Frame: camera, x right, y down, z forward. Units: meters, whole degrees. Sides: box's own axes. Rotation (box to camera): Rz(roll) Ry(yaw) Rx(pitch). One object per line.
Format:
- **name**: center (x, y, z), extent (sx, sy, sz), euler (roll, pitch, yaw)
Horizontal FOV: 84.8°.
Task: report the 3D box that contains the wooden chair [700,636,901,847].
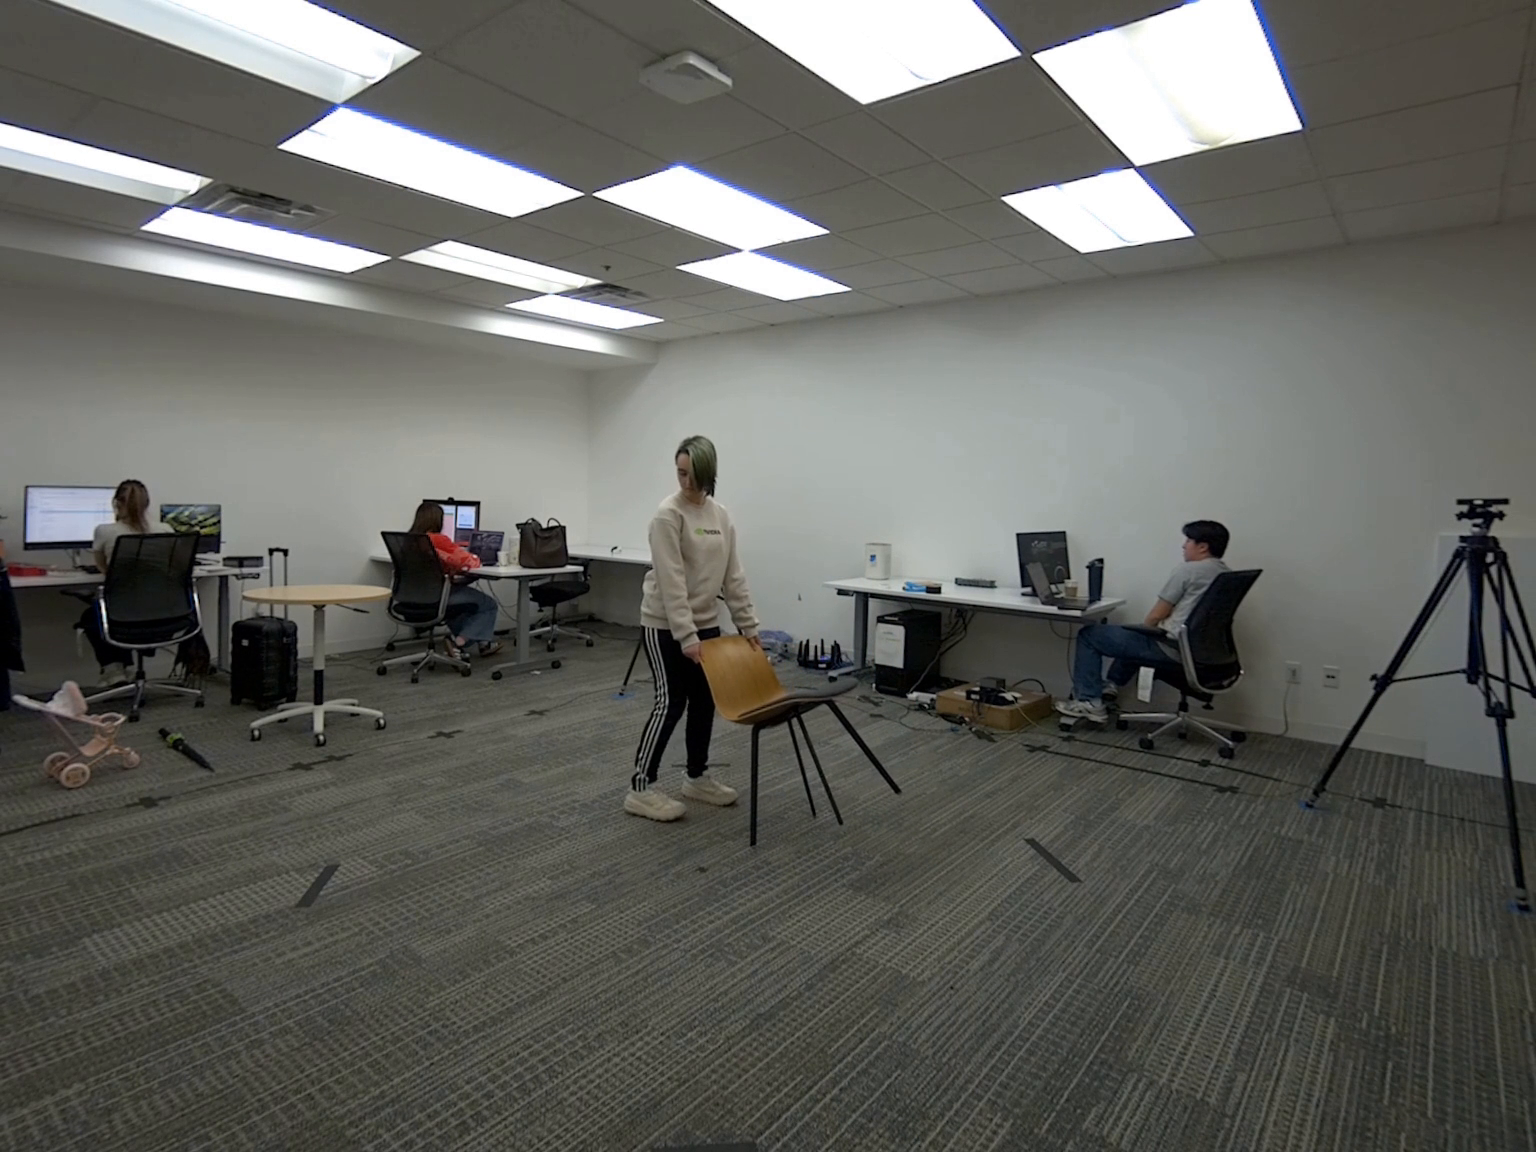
- **wooden chair**: center (0.082, 0.552, 3.433), extent (0.528, 0.896, 0.464), euler (-34, -19, 34)
